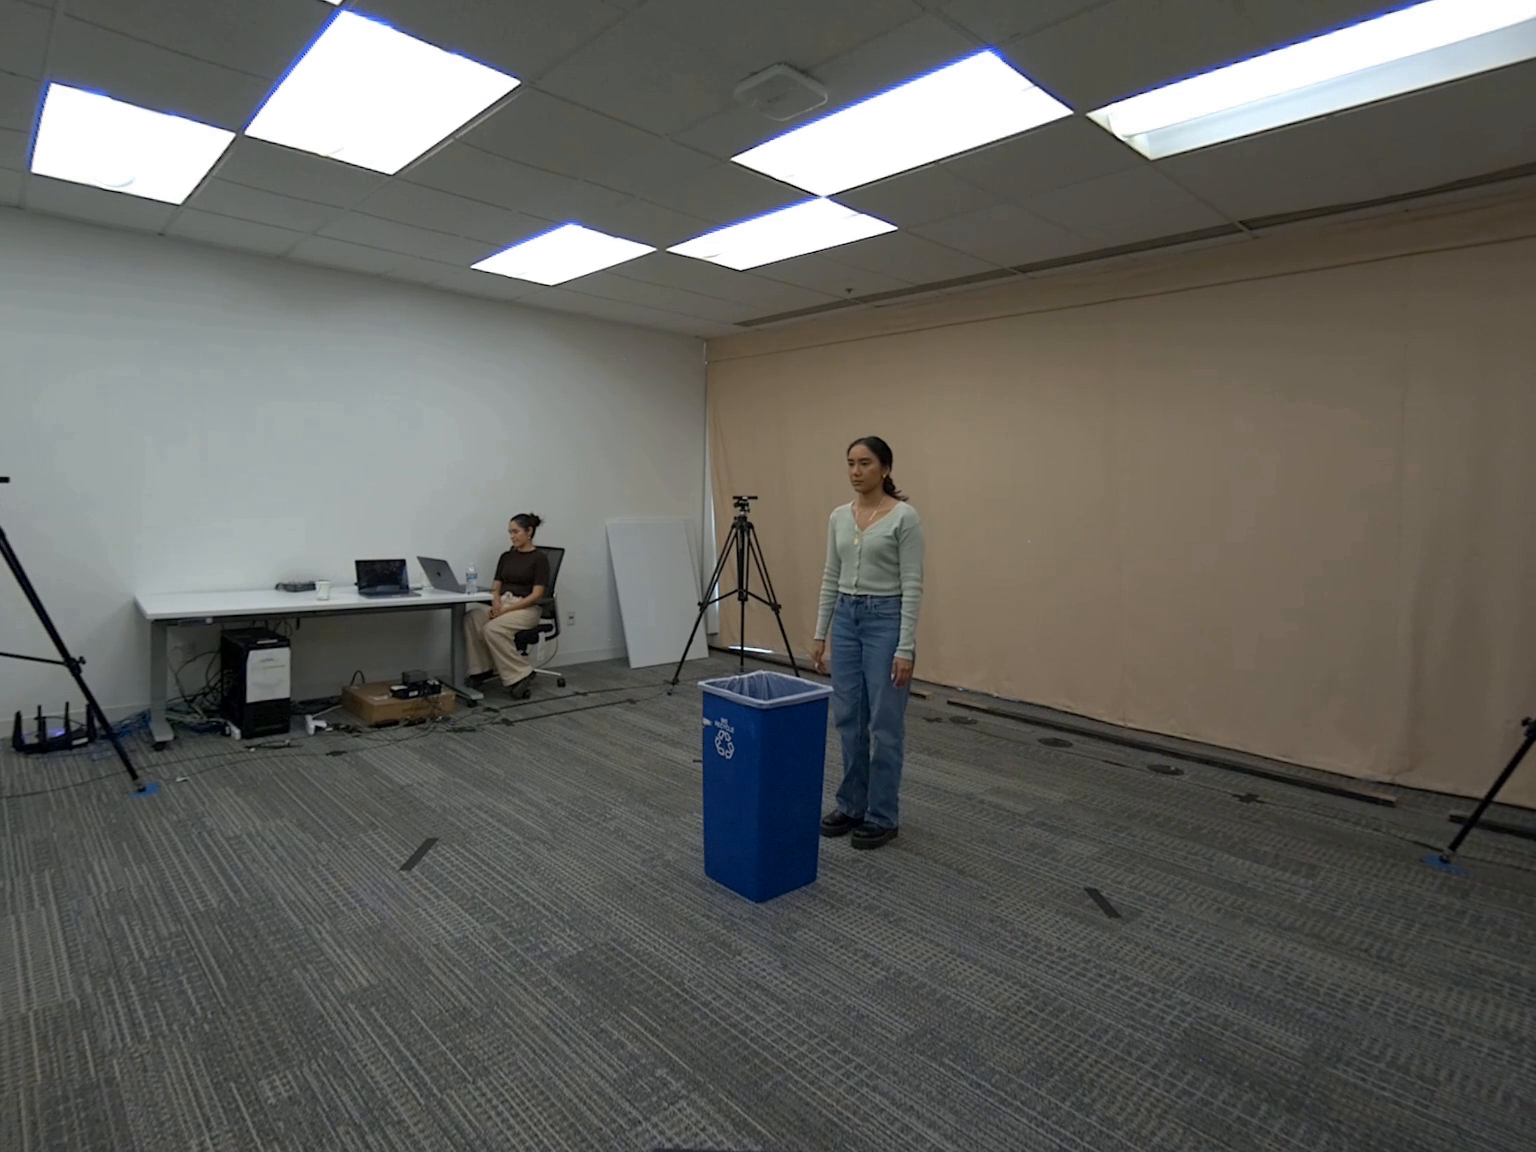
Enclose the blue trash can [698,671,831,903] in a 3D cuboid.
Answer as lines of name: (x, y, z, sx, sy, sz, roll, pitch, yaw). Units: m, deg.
blue trash can: (-0.019, 0.751, 3.066, 0.369, 0.712, 0.383, -2, 5, -42)
